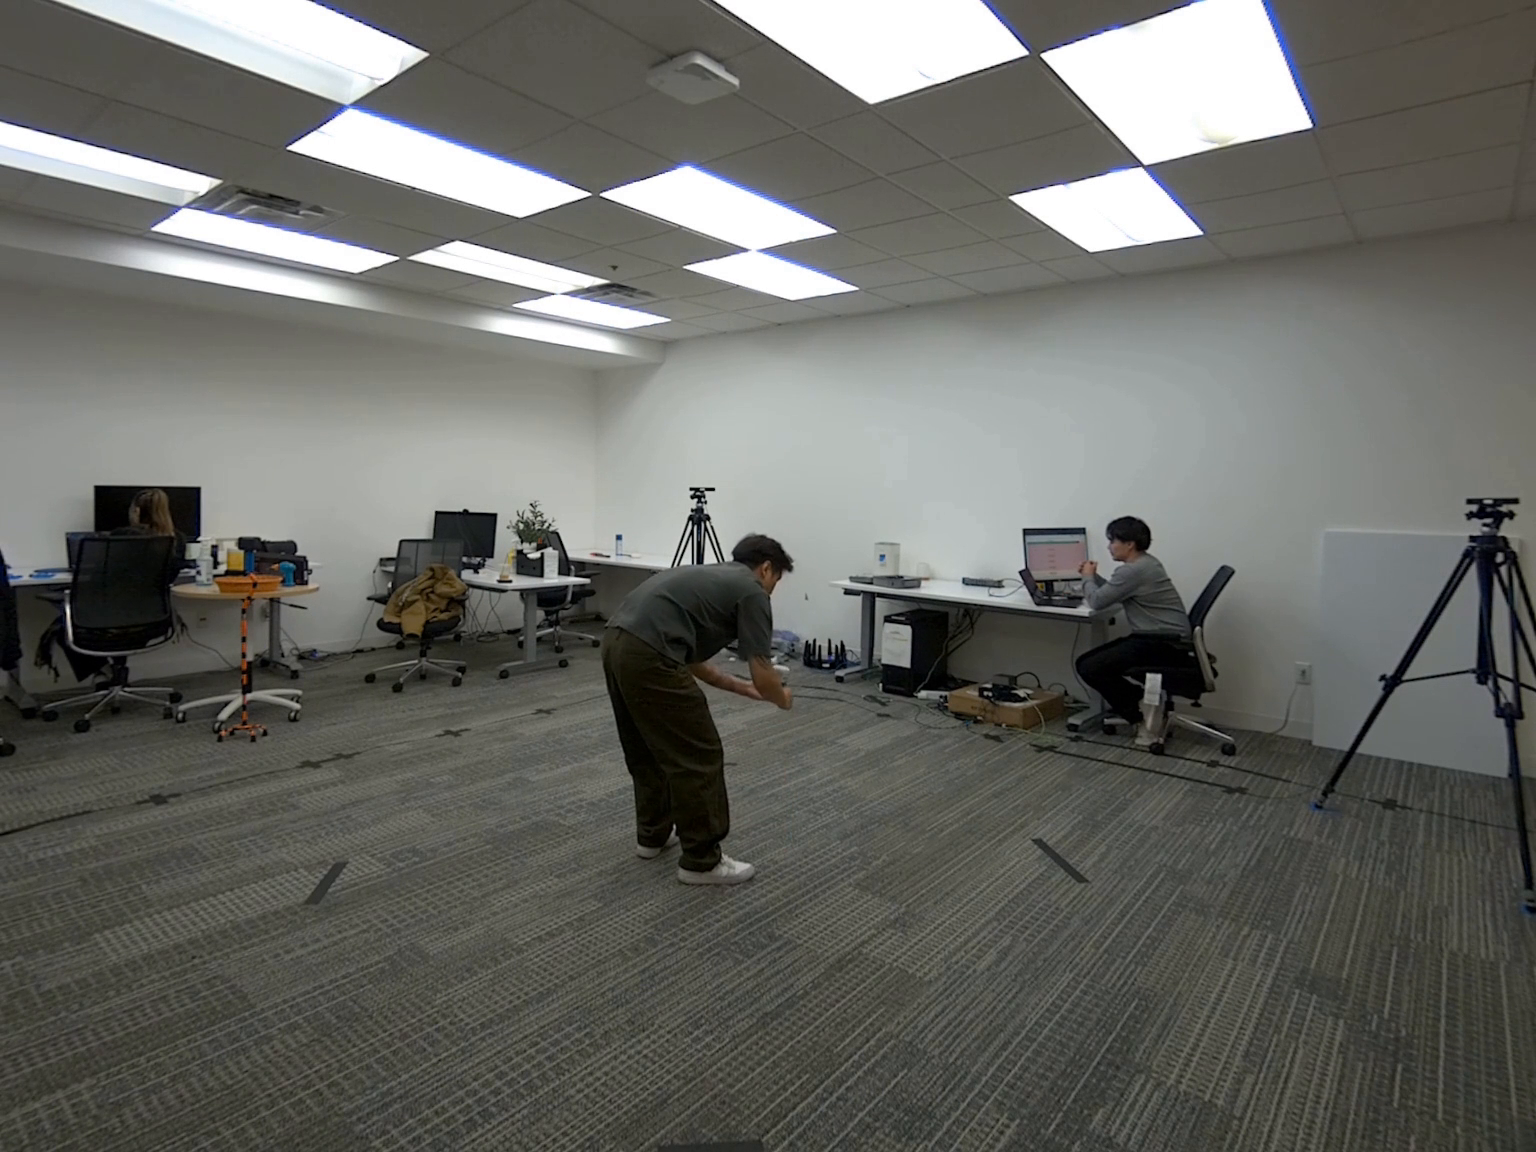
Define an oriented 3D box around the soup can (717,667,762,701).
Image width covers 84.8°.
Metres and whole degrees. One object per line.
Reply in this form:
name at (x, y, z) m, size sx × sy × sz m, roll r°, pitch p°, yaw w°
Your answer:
soup can at (-0.094, 0.447, 3.326) m, size 0.124 × 0.067 × 0.066 m, roll 28°, pitch 11°, yaw 15°
